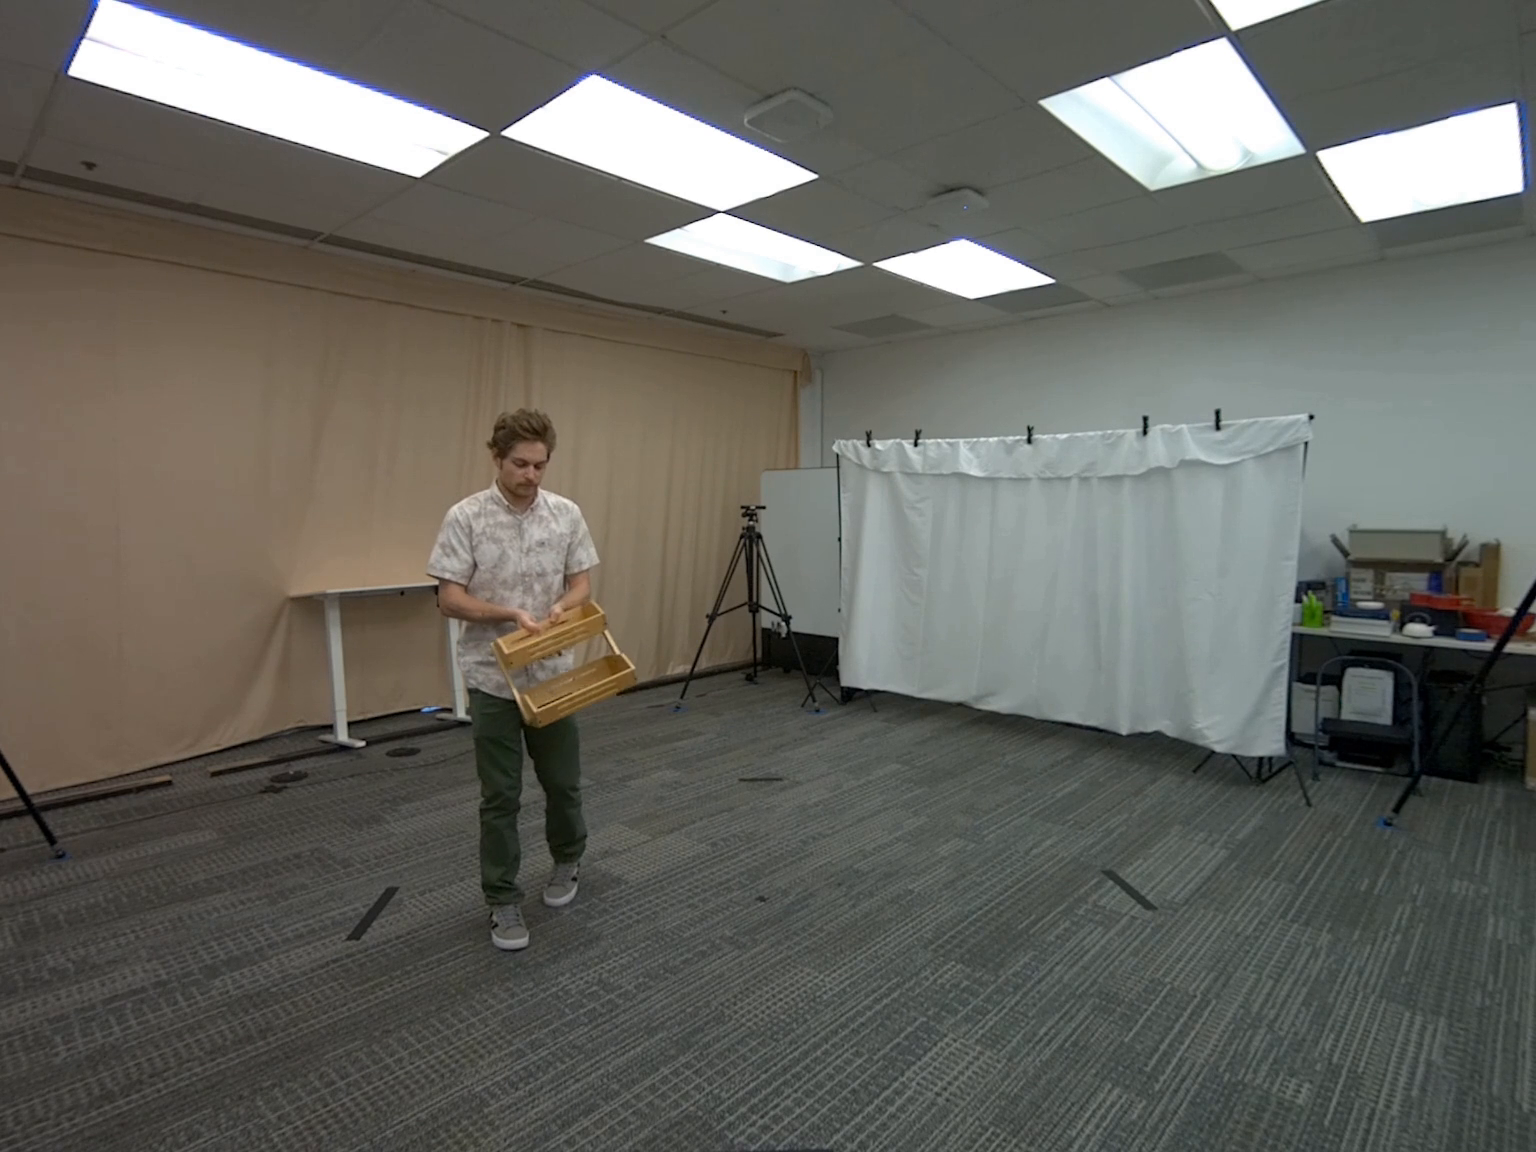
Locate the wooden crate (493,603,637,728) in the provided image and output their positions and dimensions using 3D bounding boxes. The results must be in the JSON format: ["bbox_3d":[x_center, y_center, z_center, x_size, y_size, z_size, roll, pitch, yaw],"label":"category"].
[{"bbox_3d":[-0.584,0.245,2.422,0.319,0.273,0.307,-23,2,-24],"label":"wooden crate"}]
